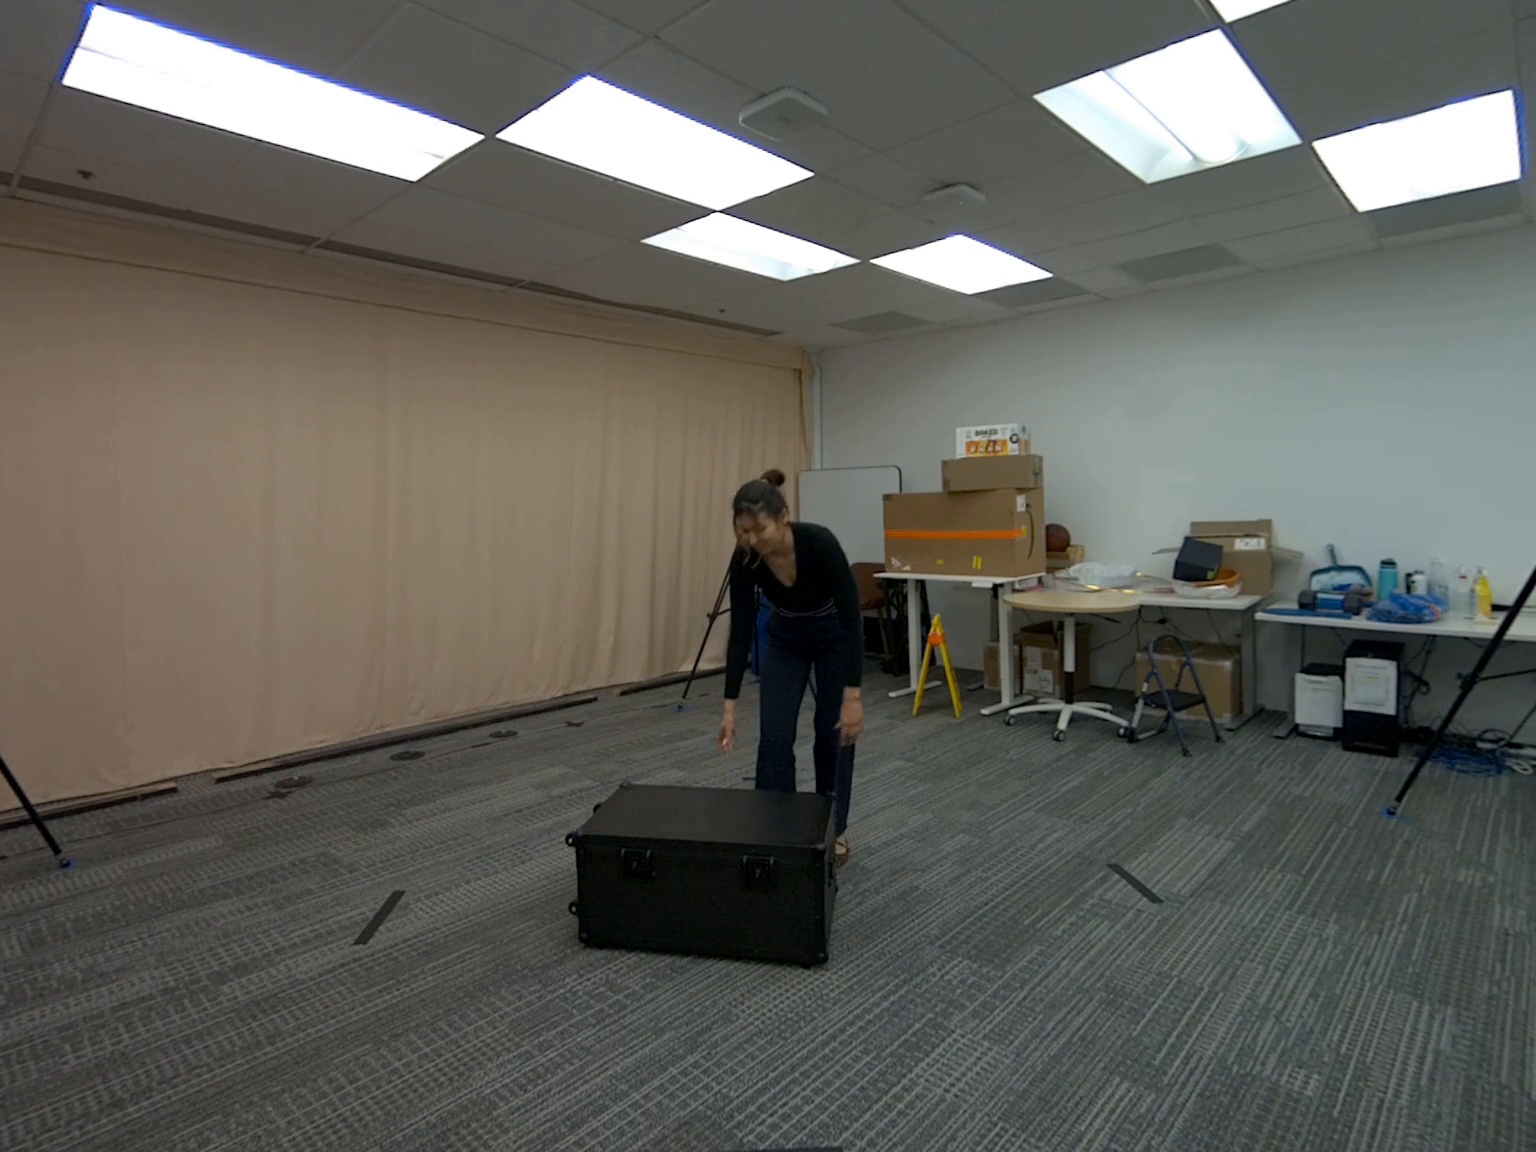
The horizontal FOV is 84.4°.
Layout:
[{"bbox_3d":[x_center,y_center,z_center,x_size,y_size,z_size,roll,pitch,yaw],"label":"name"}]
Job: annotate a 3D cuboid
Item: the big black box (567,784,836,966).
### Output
[{"bbox_3d":[-0.214,0.962,2.814,0.872,0.395,0.516,0,4,11],"label":"big black box"}]
